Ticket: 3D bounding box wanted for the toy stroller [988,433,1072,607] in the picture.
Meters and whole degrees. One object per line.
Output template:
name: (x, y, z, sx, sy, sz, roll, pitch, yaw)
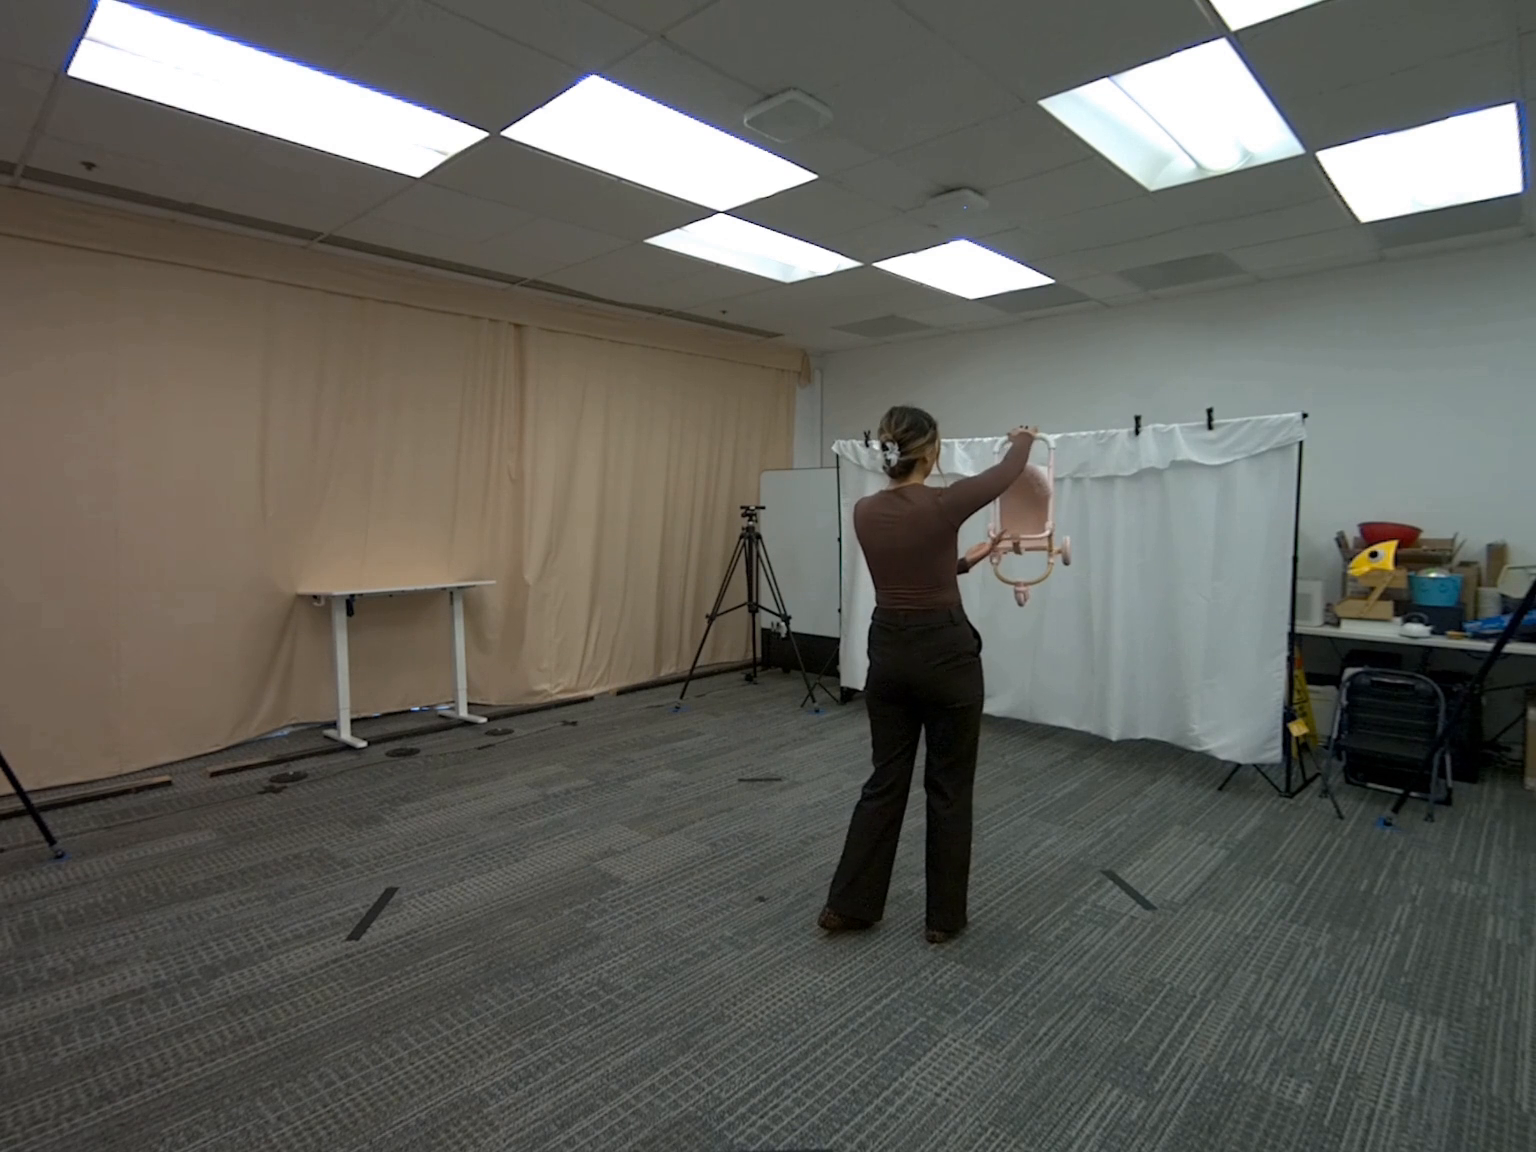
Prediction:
toy stroller: (0.894, -0.189, 2.963, 0.290, 0.527, 0.336, 3, 22, 30)
